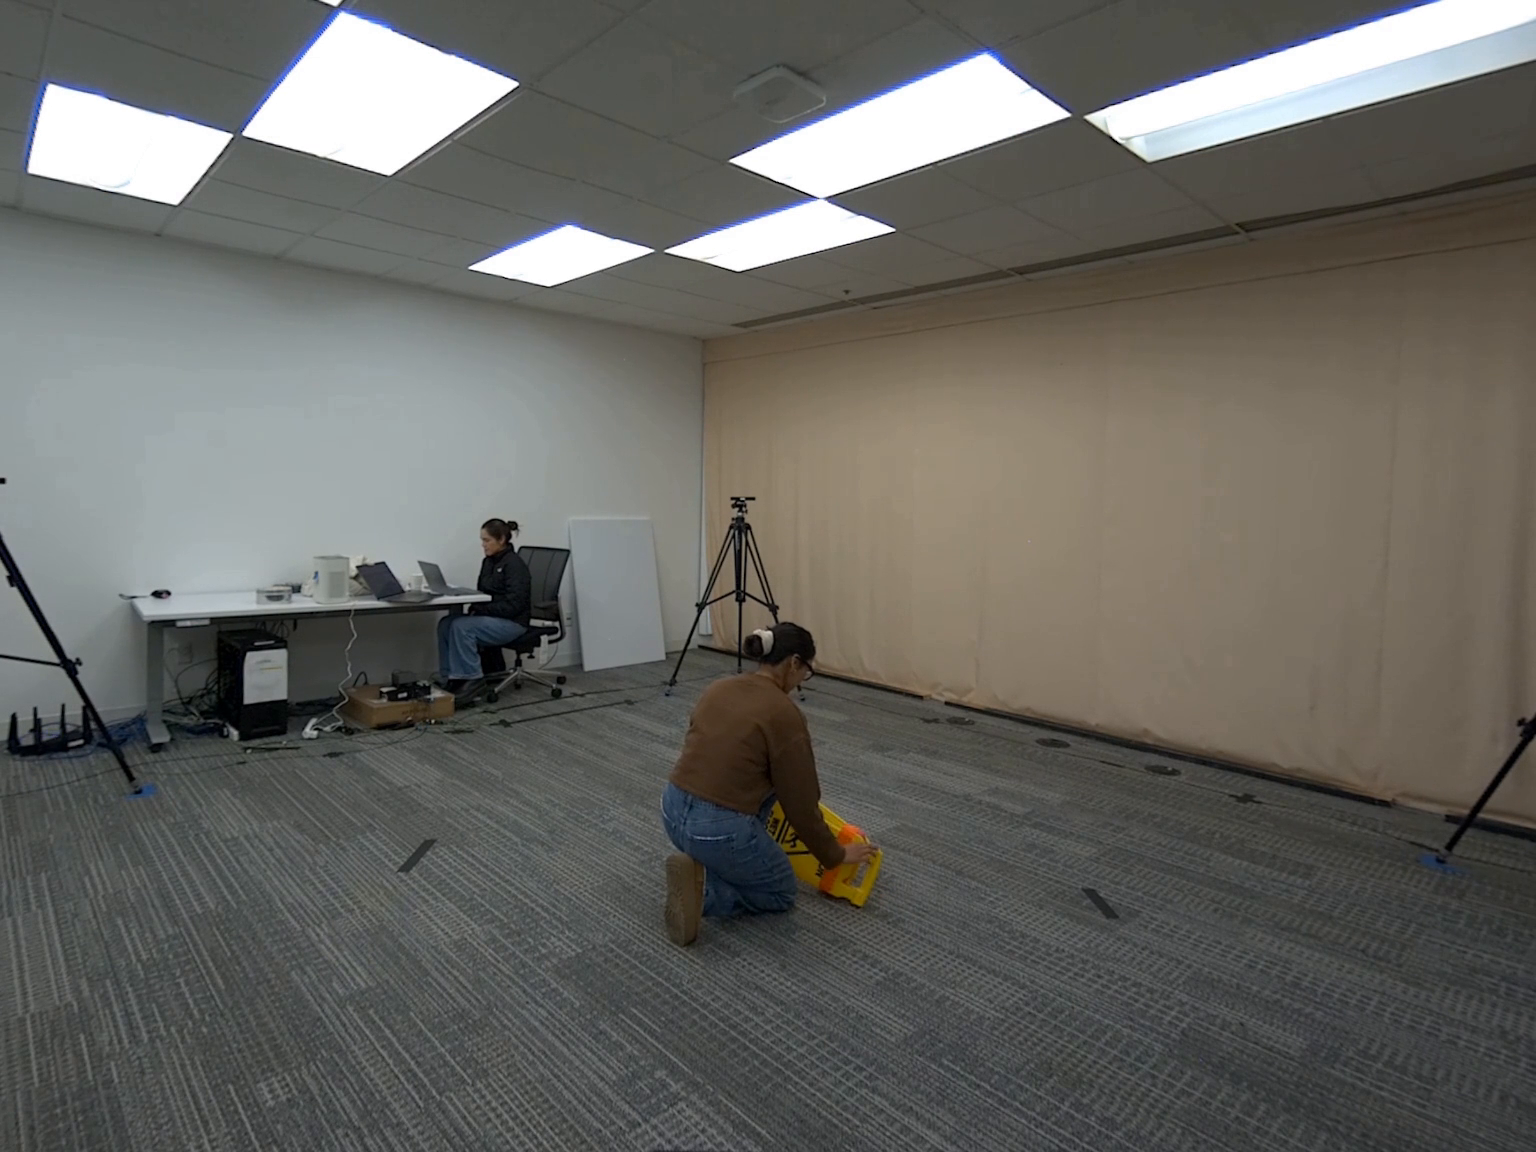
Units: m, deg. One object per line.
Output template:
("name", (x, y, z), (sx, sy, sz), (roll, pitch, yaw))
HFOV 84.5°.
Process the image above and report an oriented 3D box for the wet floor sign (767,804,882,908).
("wet floor sign", (0.122, 0.966, 3.104), (0.665, 0.283, 0.281), (18, -7, 45))
